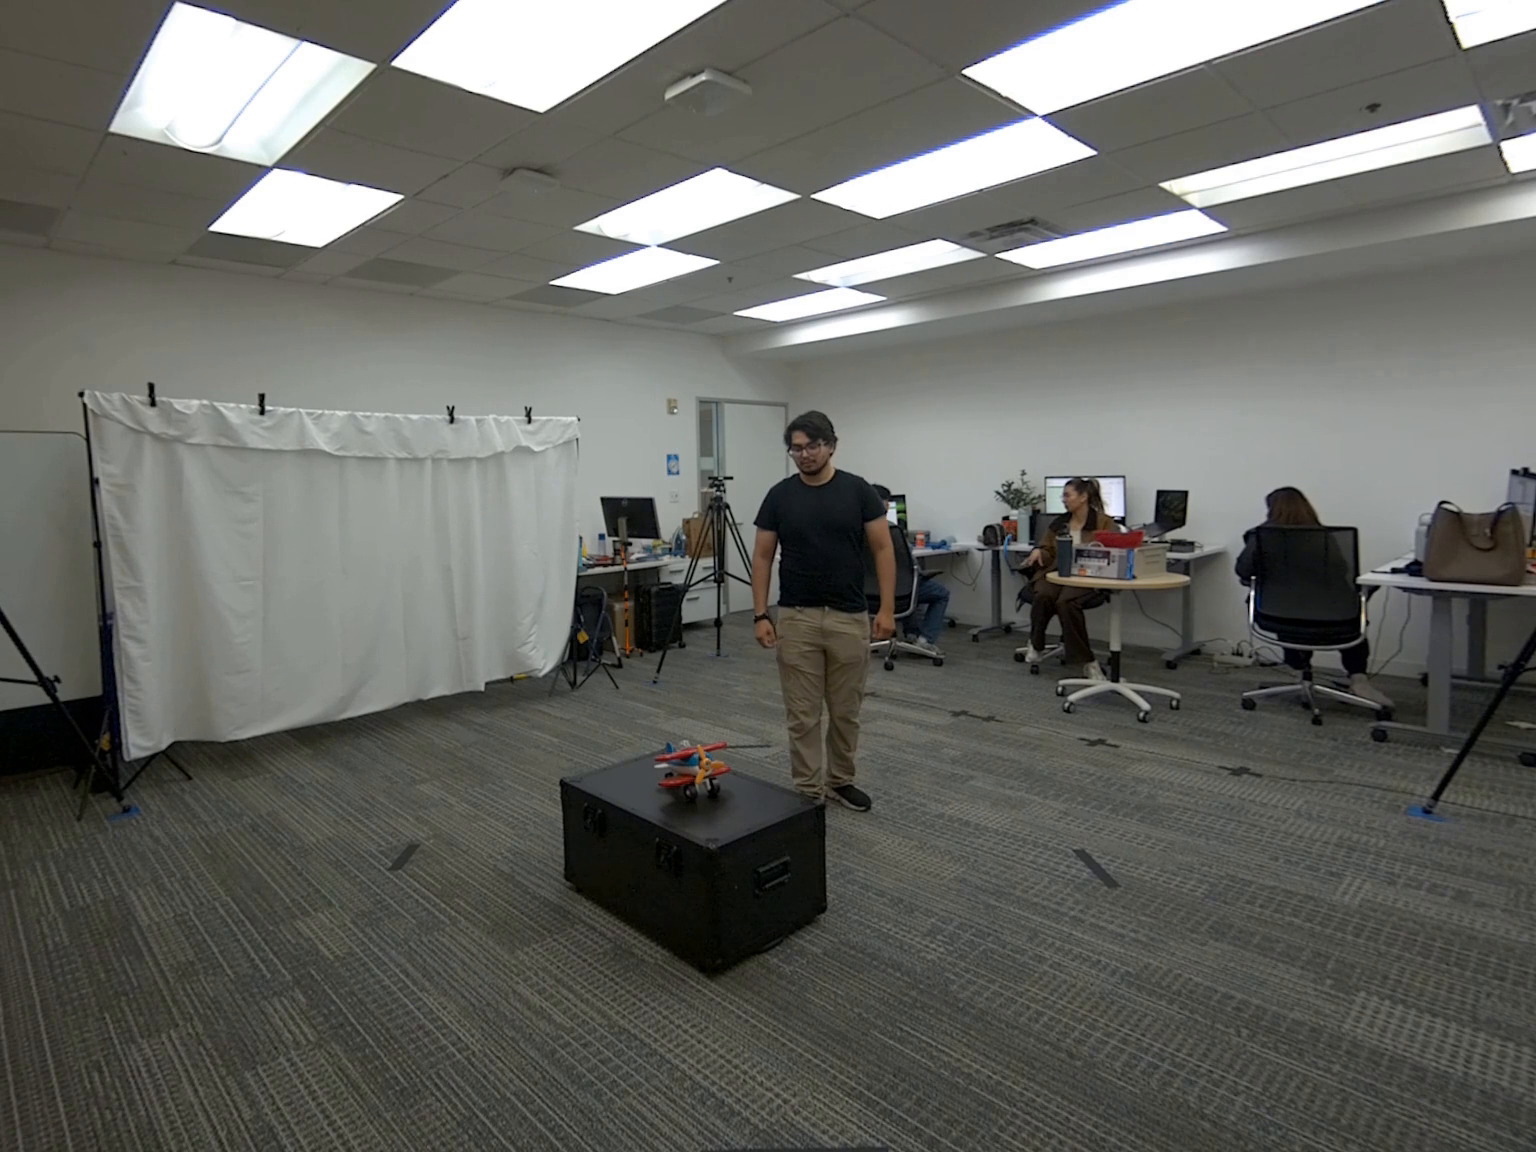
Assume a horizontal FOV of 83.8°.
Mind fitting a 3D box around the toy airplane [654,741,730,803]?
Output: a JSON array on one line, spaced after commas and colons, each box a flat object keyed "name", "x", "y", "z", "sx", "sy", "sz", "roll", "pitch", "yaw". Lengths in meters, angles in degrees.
[{"name": "toy airplane", "x": -0.271, "y": 0.626, "z": 2.791, "sx": 0.266, "sy": 0.155, "sz": 0.246, "roll": 4, "pitch": 8, "yaw": 26}]
